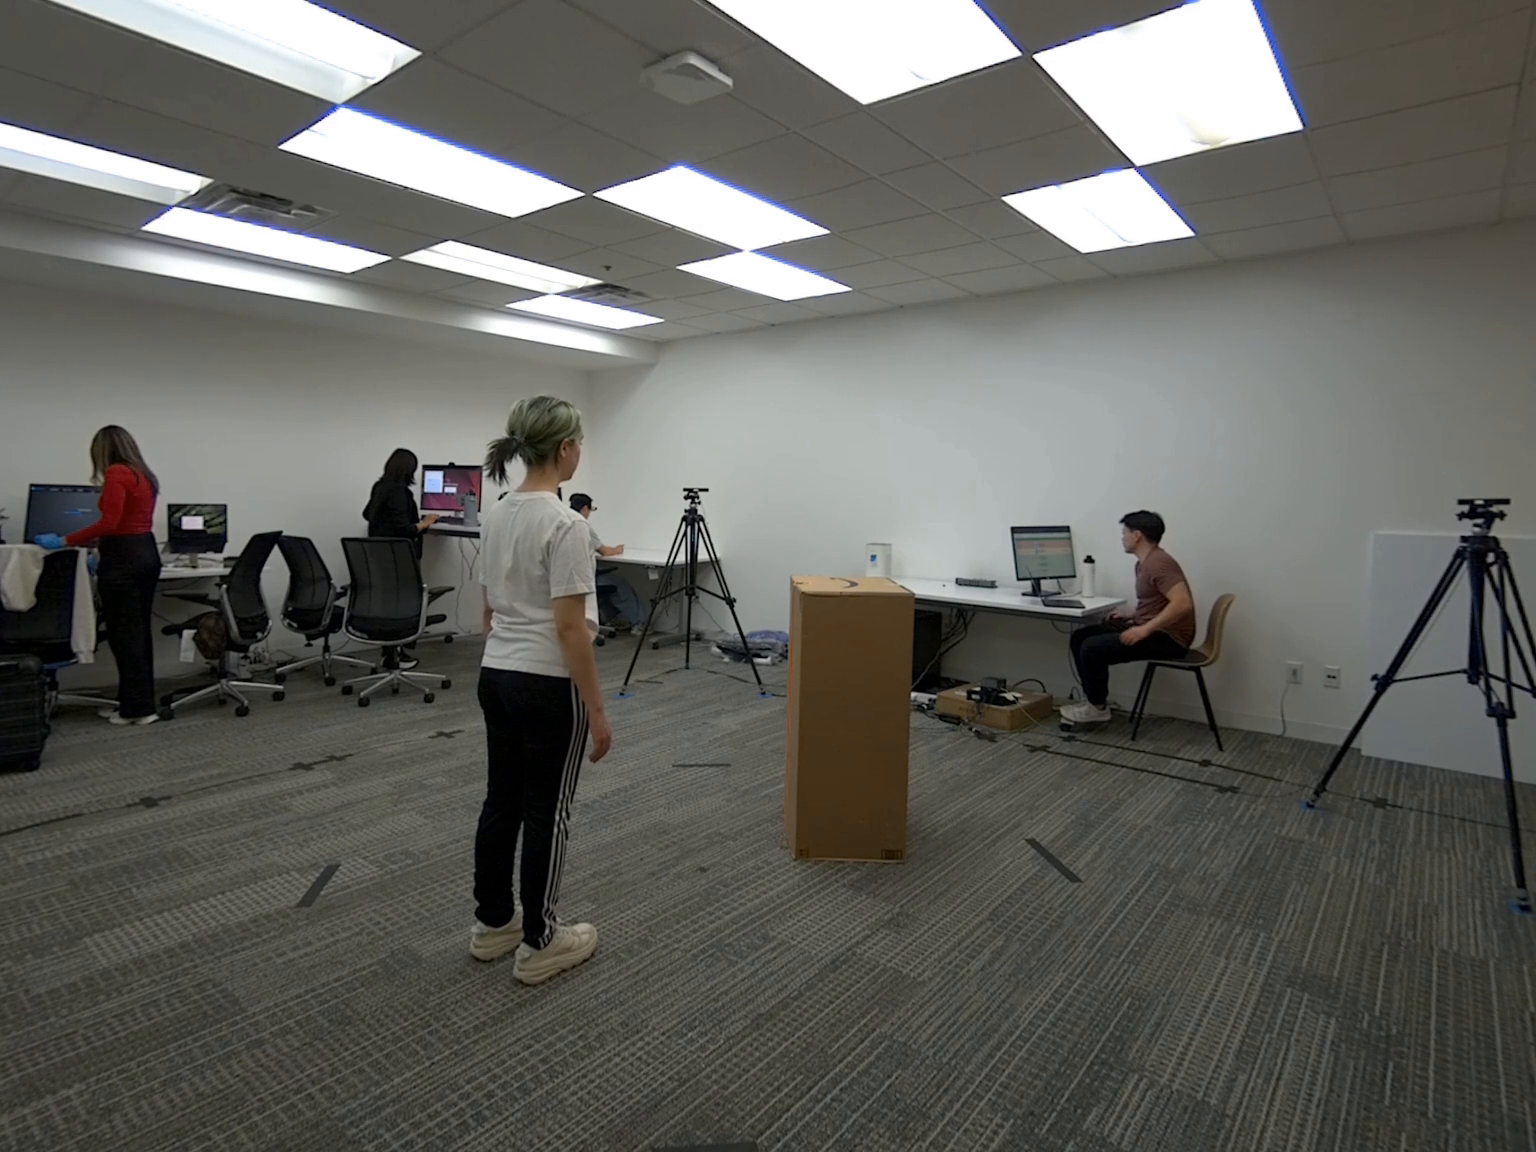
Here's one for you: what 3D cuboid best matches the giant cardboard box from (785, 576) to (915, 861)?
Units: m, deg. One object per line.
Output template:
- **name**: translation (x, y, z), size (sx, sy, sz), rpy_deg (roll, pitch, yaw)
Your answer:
- **giant cardboard box**: translation (0.300, 0.537, 3.456), size (0.446, 1.024, 0.587), rpy_deg (1, 4, -2)
